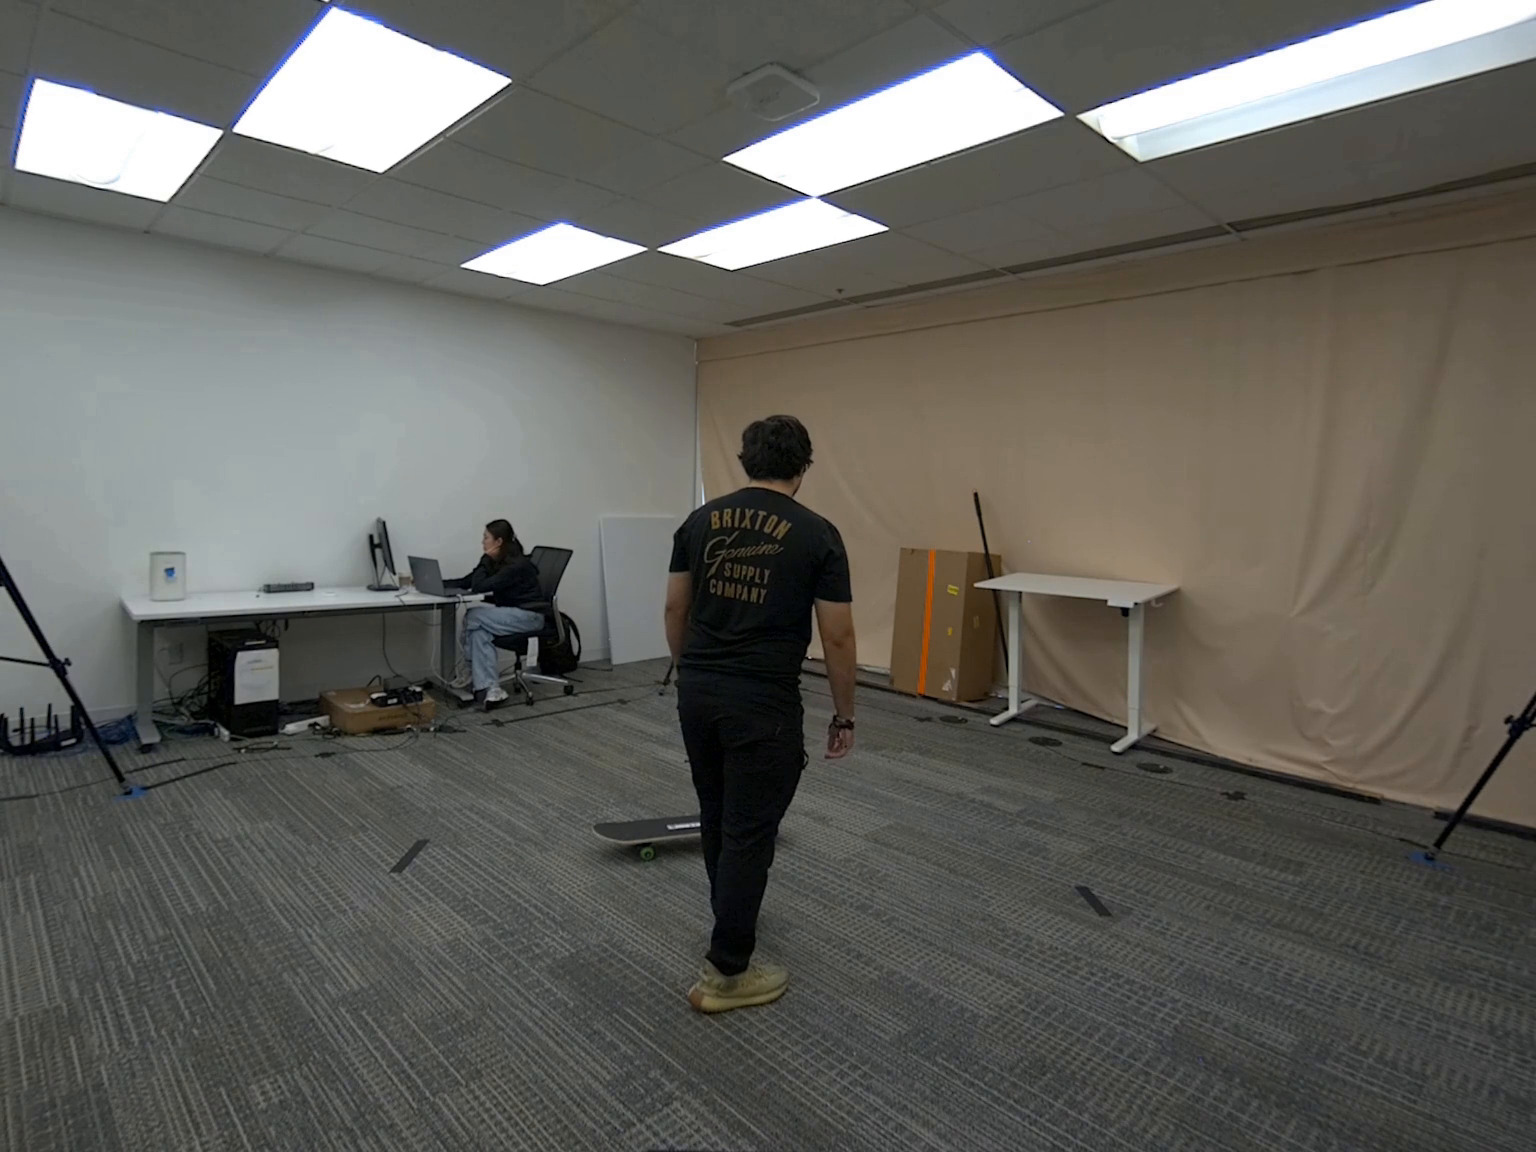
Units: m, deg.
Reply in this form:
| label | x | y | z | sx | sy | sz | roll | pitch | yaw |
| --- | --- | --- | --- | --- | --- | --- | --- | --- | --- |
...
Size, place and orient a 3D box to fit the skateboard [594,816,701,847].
| label | x | y | z | sx | sy | sz | roll | pitch | yaw |
| --- | --- | --- | --- | --- | --- | --- | --- | --- | --- |
| skateboard | -0.307 | 1.022 | 3.346 | 0.774 | 0.110 | 0.197 | 0 | 6 | -18 |
